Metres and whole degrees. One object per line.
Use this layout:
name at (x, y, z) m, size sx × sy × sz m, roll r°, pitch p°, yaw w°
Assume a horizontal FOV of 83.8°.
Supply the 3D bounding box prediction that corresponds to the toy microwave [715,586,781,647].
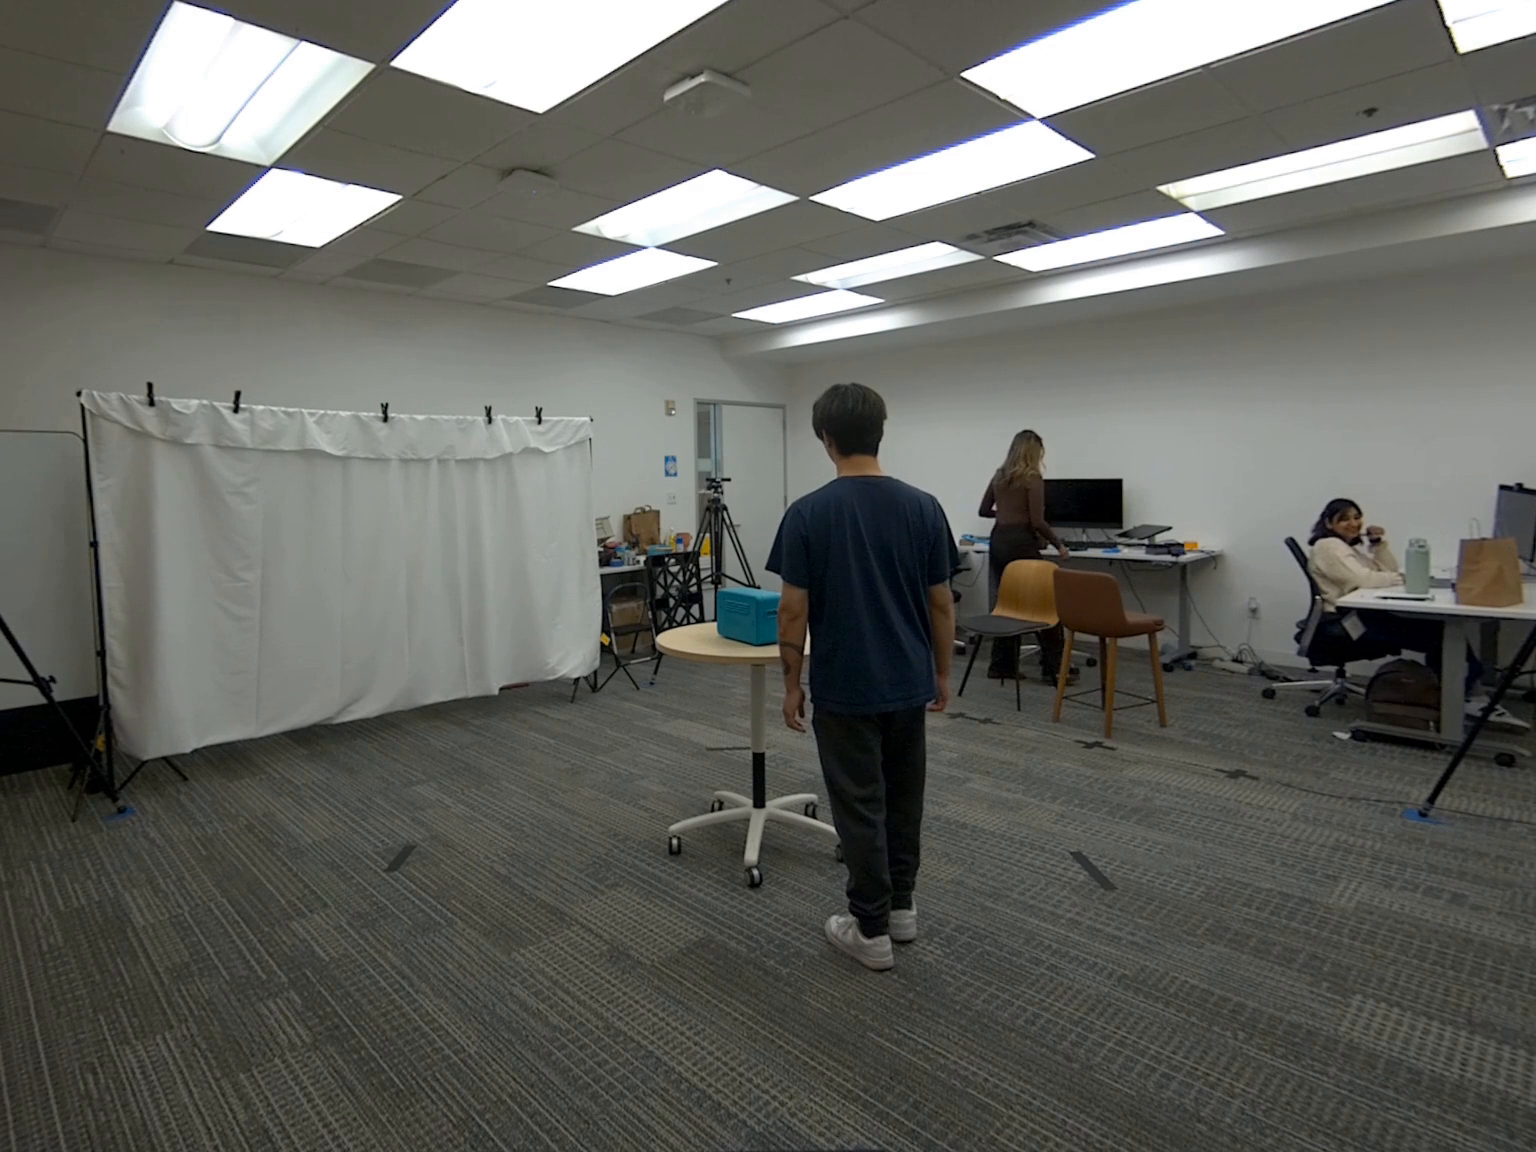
toy microwave at (-0.060, 0.146, 3.162) m, size 0.149 × 0.183 × 0.294 m, roll -4°, pitch 6°, yaw -32°
